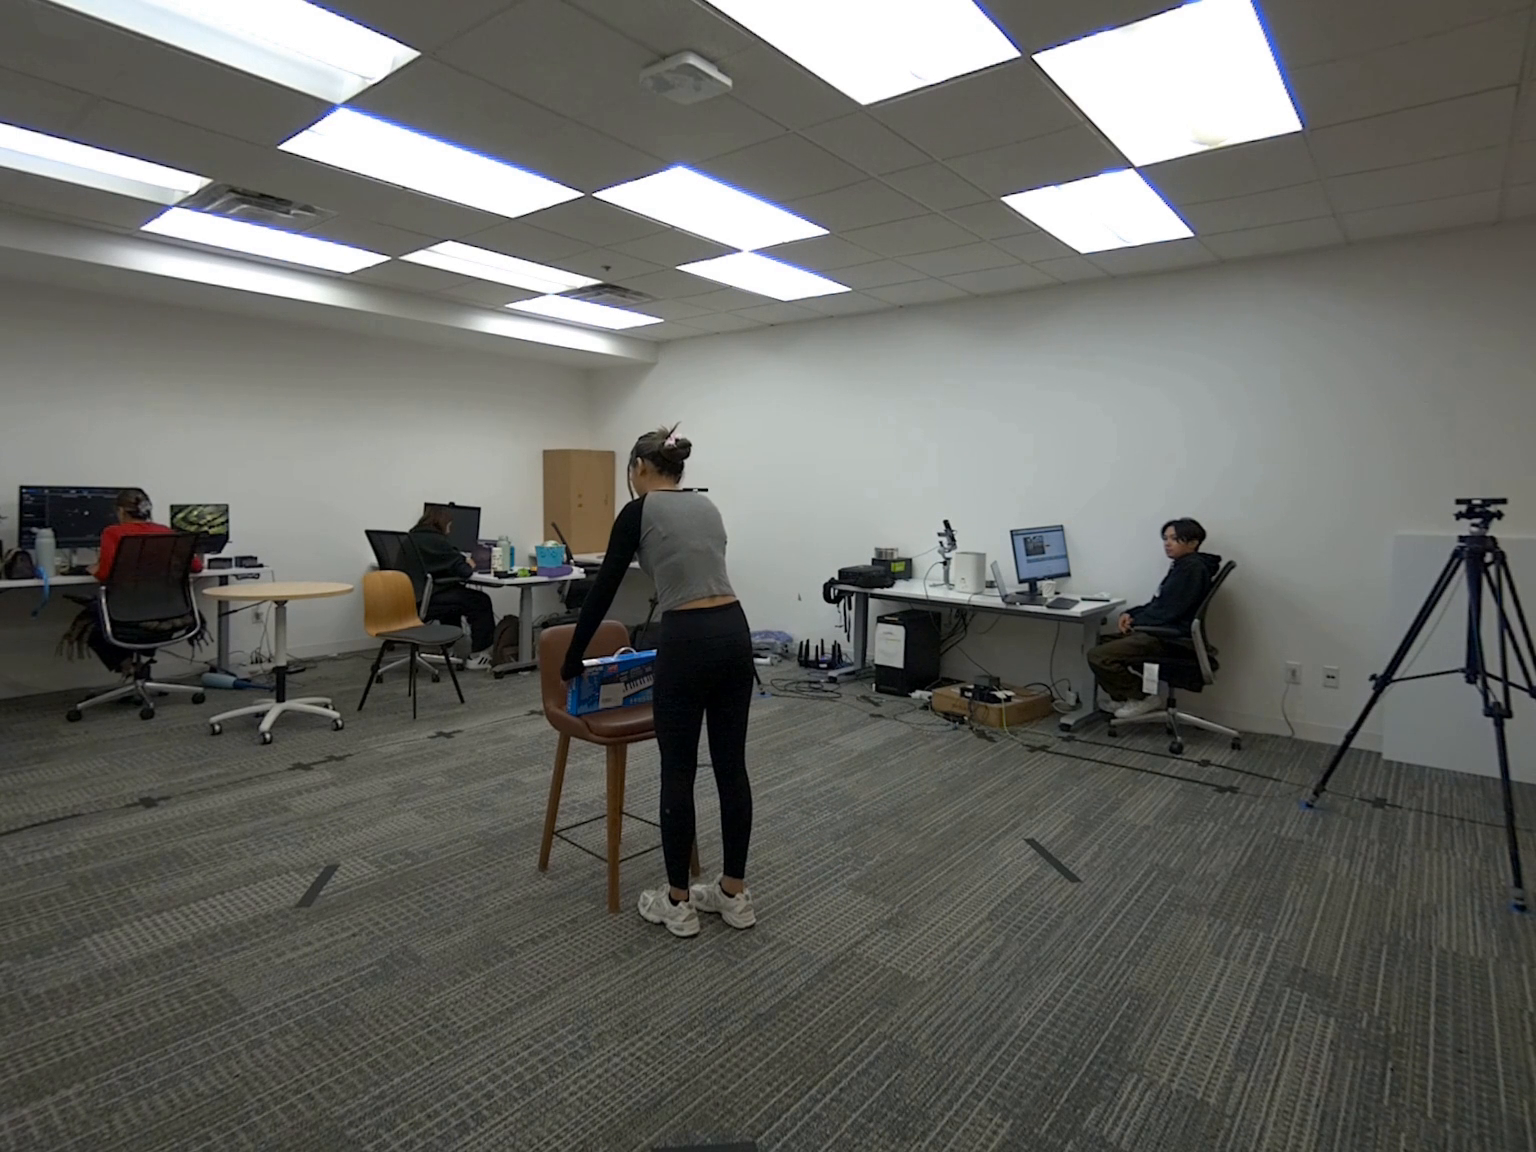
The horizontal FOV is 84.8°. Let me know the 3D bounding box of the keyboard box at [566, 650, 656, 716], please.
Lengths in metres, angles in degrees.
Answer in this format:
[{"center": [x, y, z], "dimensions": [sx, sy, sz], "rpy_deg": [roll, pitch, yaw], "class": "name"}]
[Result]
[{"center": [-0.526, 0.372, 3.032], "dimensions": [0.424, 0.175, 0.061], "rpy_deg": [-4, 10, -44], "class": "keyboard box"}]
